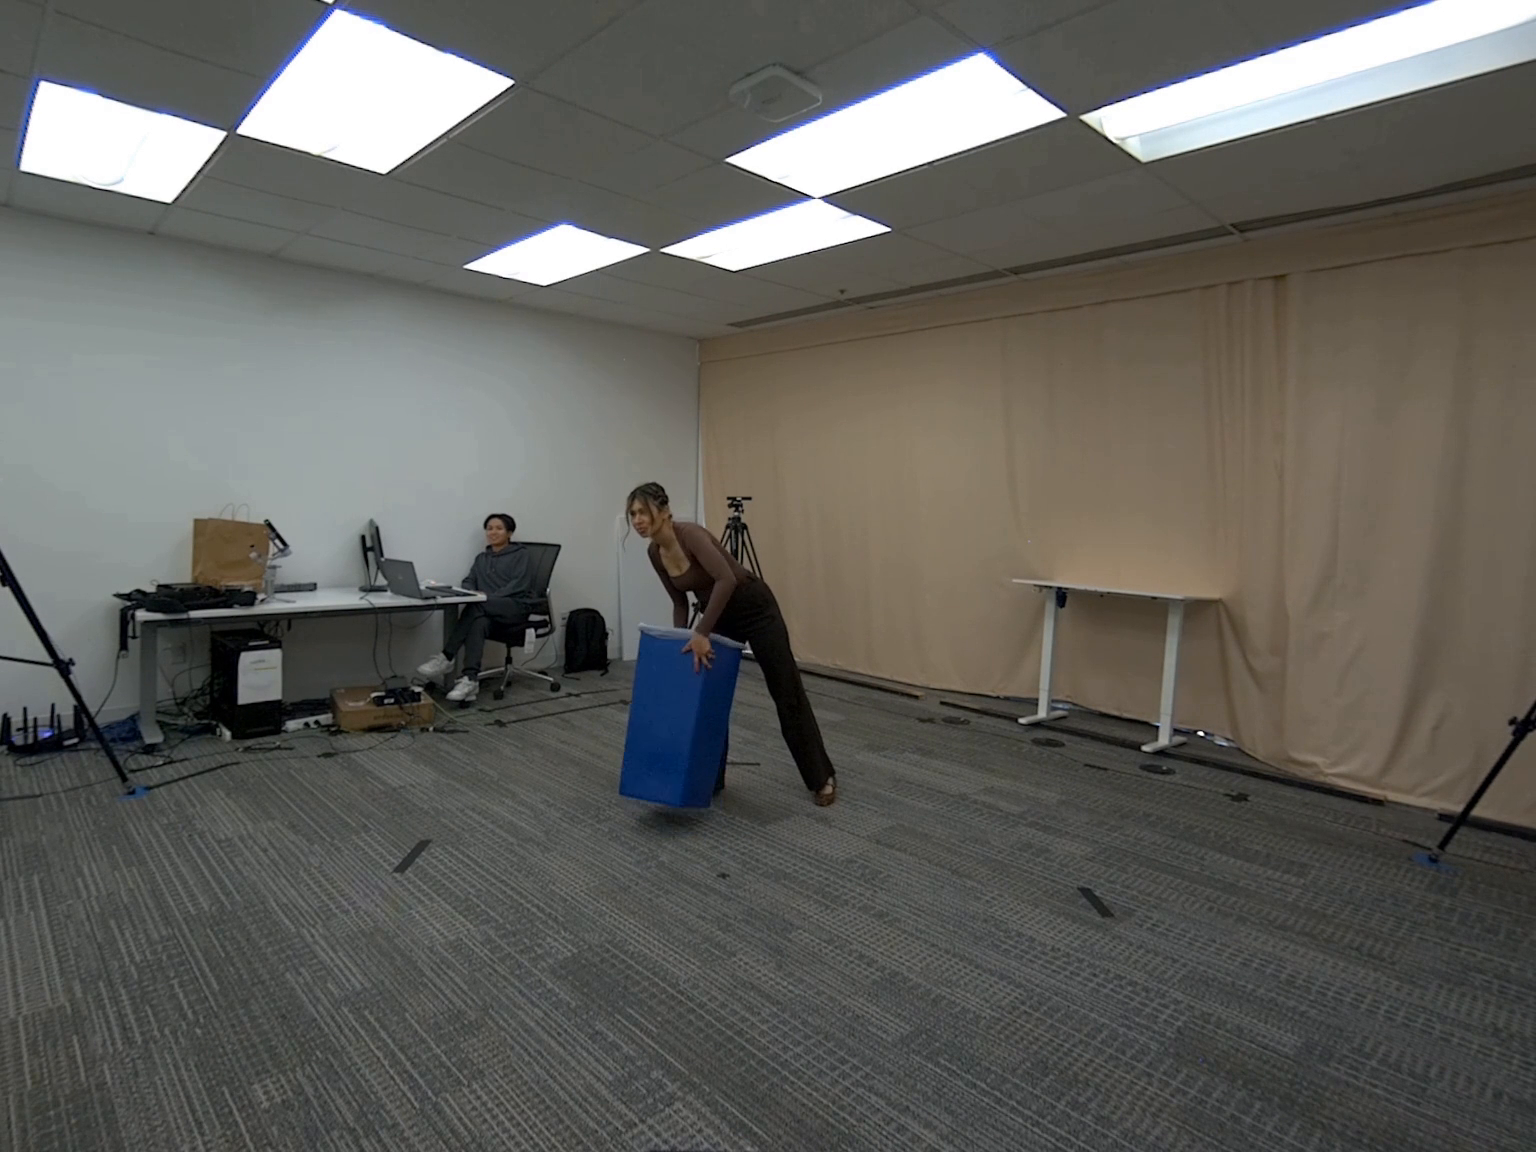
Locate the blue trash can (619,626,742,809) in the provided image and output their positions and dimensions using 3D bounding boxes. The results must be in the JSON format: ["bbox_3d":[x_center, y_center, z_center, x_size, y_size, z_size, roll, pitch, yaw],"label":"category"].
[{"bbox_3d":[-0.400,0.601,3.637,0.385,0.719,0.364,4,-13,24],"label":"blue trash can"}]
